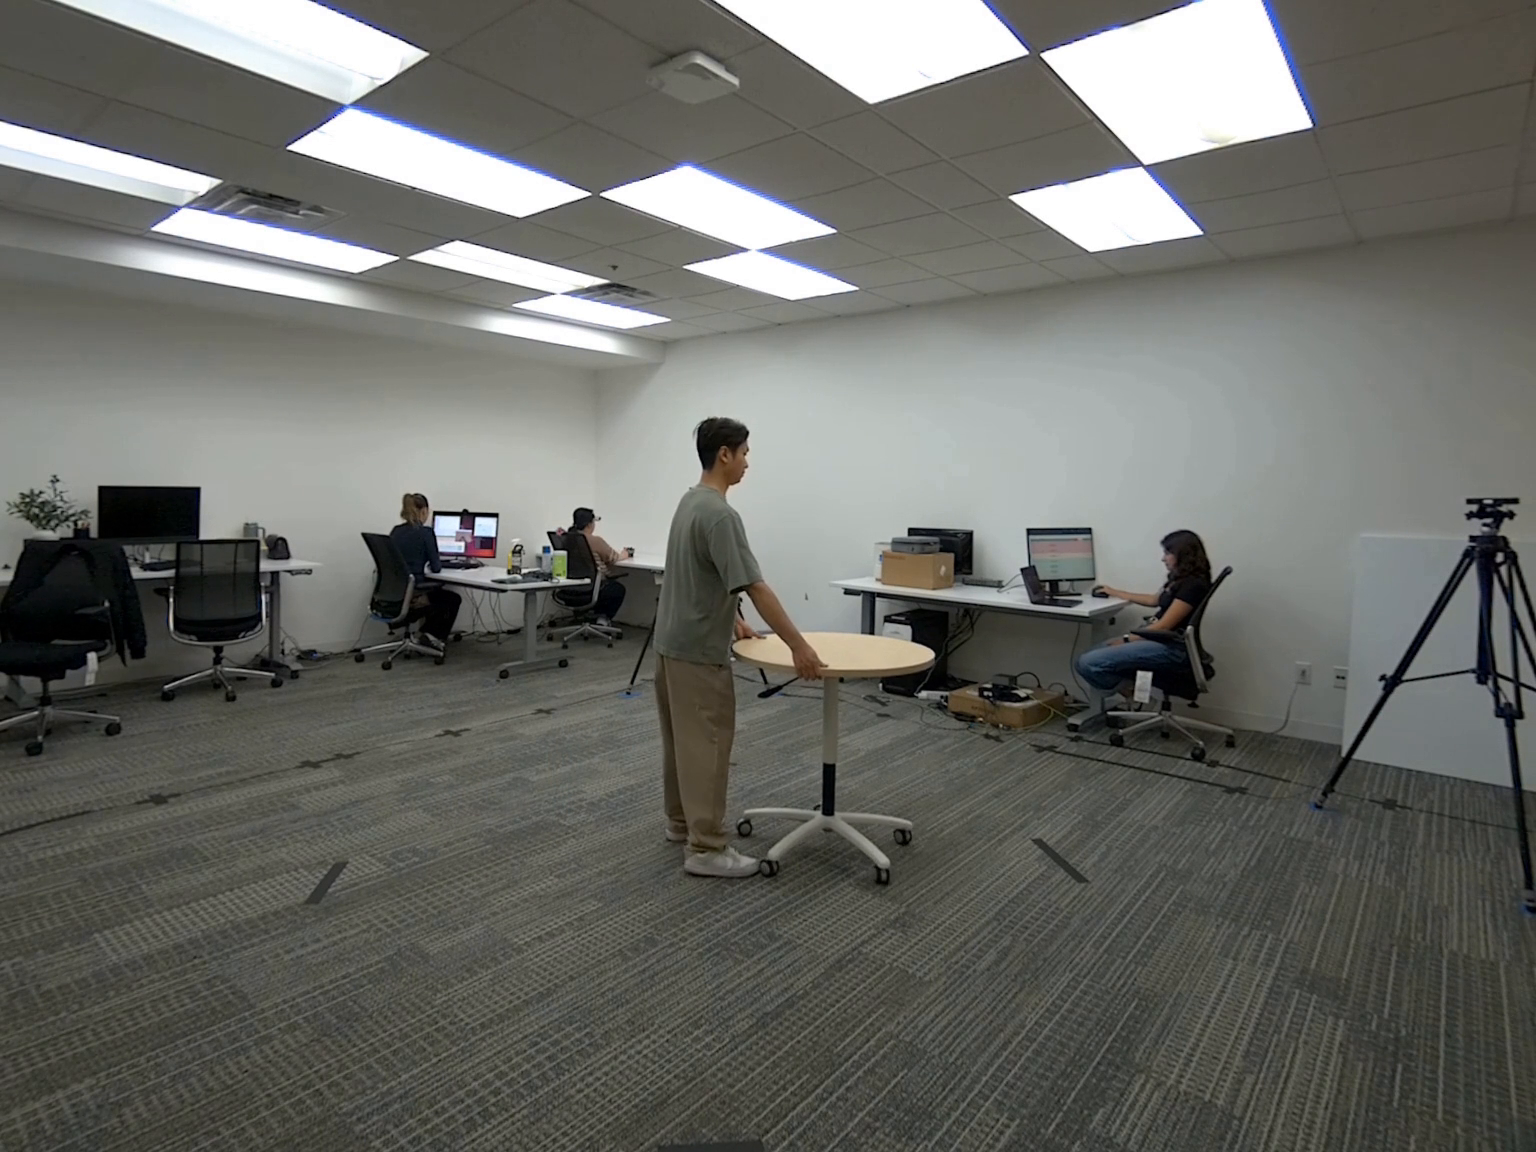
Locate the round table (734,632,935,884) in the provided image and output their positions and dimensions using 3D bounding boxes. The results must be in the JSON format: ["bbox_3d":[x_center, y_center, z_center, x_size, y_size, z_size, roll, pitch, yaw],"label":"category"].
[{"bbox_3d":[0.243,0.668,3.278,0.784,0.783,0.789,0,5,-2],"label":"round table"}]
